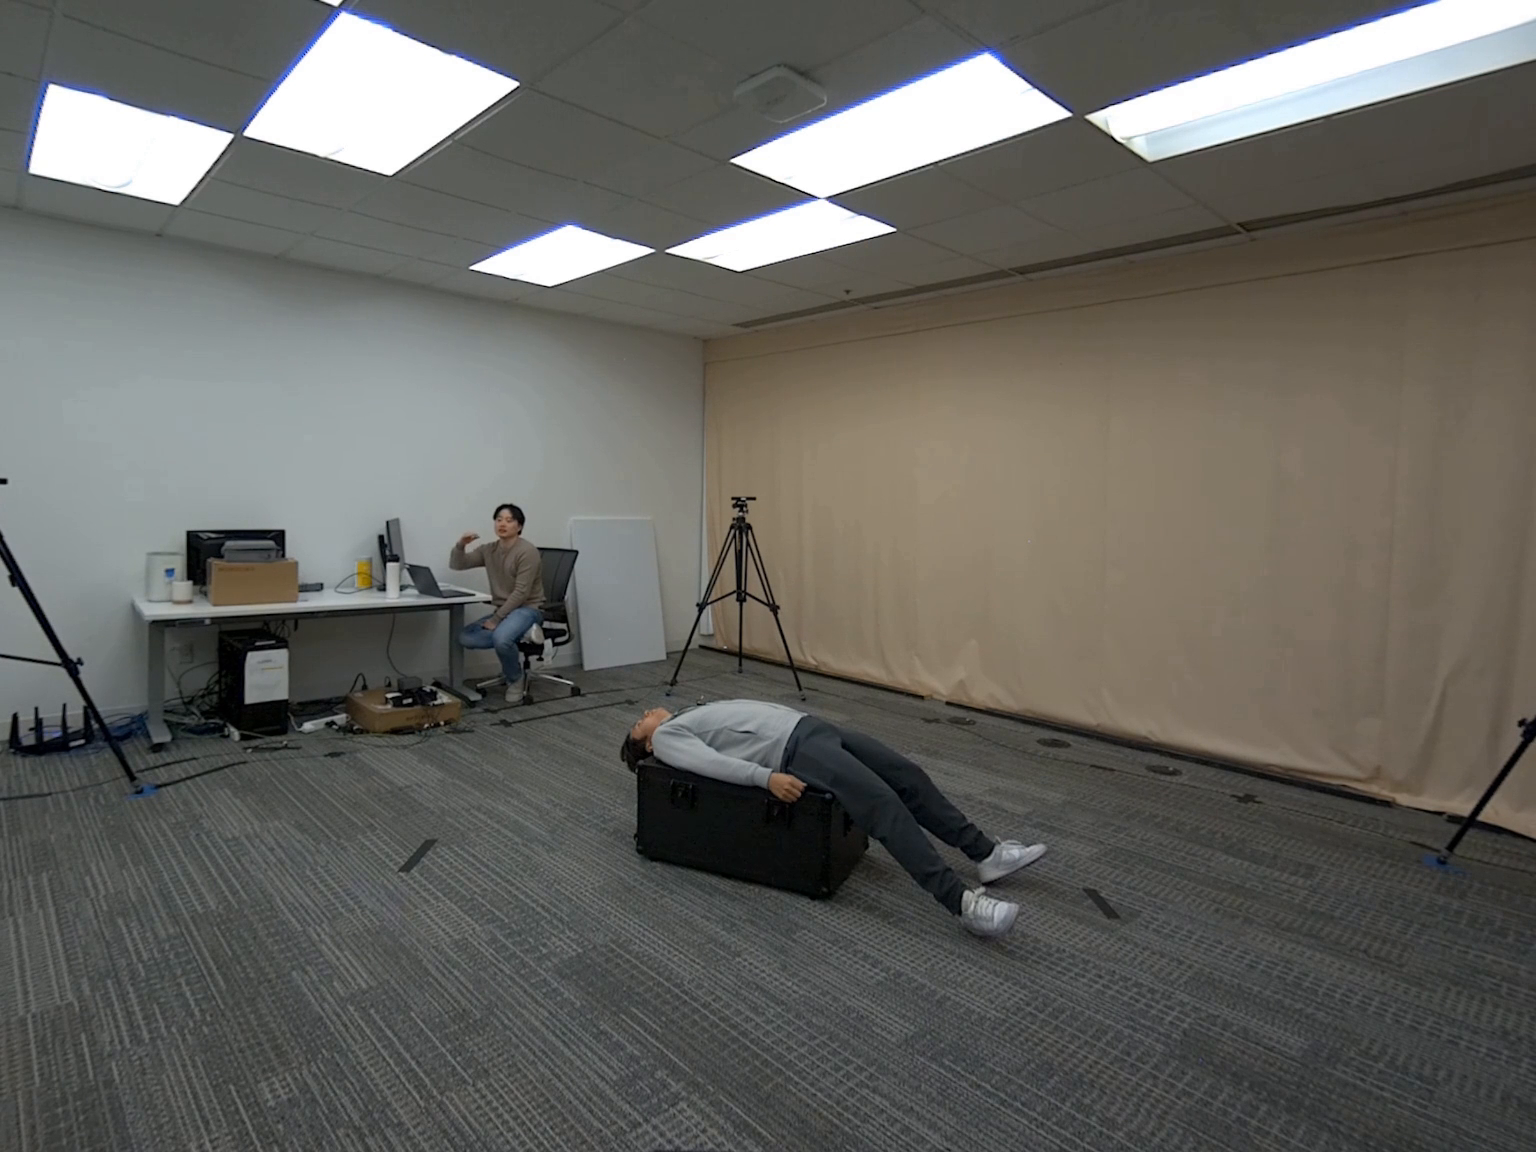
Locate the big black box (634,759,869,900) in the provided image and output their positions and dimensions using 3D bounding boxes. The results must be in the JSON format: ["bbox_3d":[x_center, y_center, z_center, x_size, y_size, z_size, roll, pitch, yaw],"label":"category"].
[{"bbox_3d":[-0.031,0.909,3.251,0.878,0.395,0.512,3,5,25],"label":"big black box"}]
